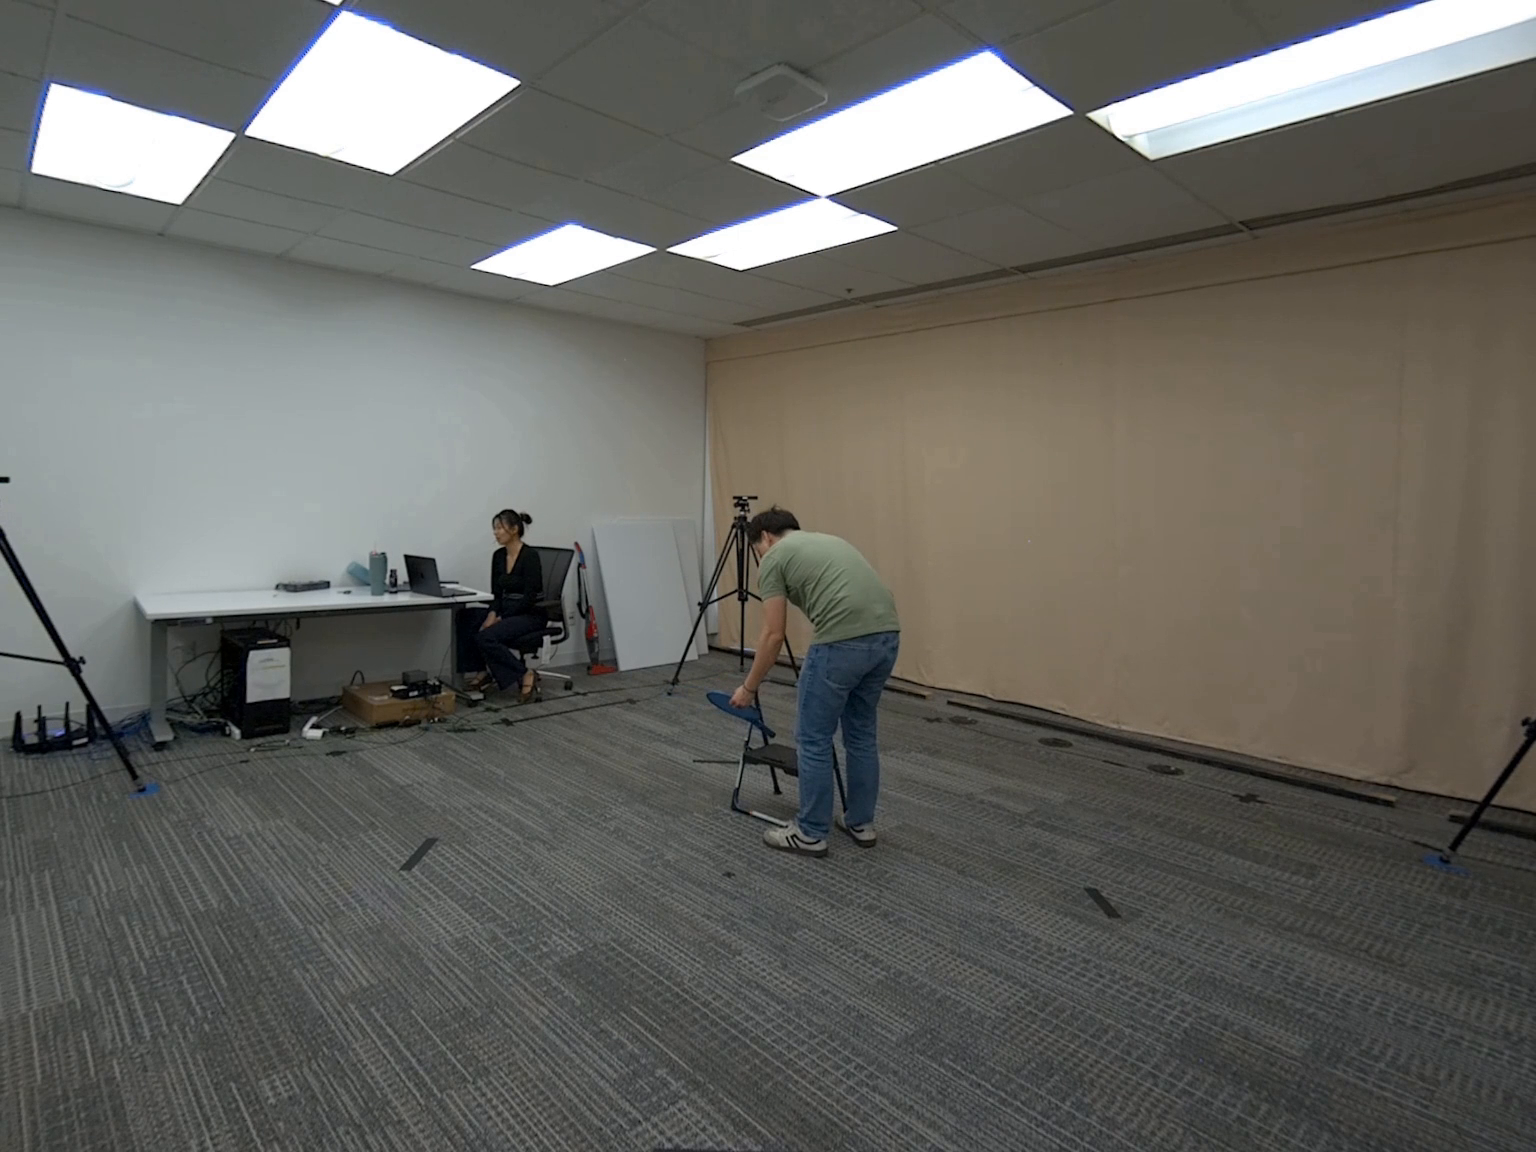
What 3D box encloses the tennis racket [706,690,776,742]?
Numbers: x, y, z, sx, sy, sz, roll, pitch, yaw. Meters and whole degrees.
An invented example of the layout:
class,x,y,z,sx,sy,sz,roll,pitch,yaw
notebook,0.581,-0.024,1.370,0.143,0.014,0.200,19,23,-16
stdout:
class,x,y,z,sx,sy,sz,roll,pitch,yaw
tennis racket,-0.099,0.583,3.568,0.218,0.032,0.419,-4,-35,42
